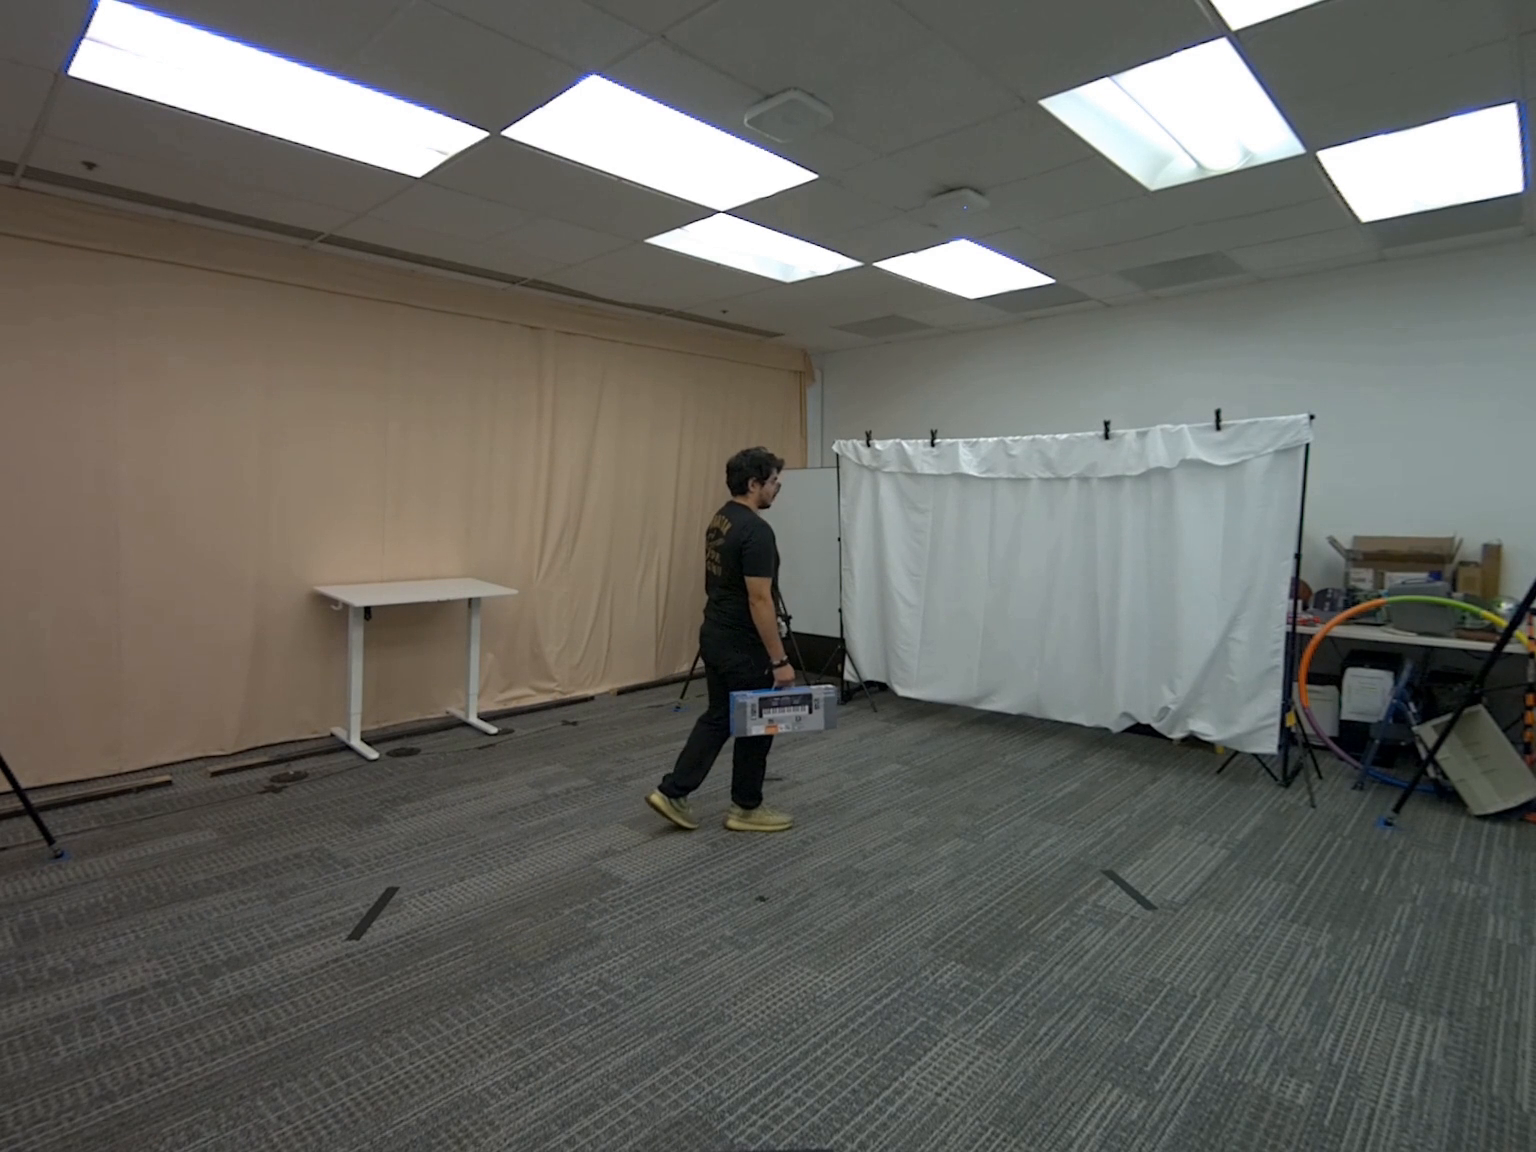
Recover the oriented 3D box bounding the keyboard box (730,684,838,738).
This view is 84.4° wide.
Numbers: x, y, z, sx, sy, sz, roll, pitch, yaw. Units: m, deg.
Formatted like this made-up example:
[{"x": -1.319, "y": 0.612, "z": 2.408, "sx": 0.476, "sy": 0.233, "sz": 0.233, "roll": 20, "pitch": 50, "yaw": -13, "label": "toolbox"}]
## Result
[{"x": 0.063, "y": 0.540, "z": 3.403, "sx": 0.431, "sy": 0.175, "sz": 0.060, "roll": -3, "pitch": 4, "yaw": -12, "label": "keyboard box"}]
